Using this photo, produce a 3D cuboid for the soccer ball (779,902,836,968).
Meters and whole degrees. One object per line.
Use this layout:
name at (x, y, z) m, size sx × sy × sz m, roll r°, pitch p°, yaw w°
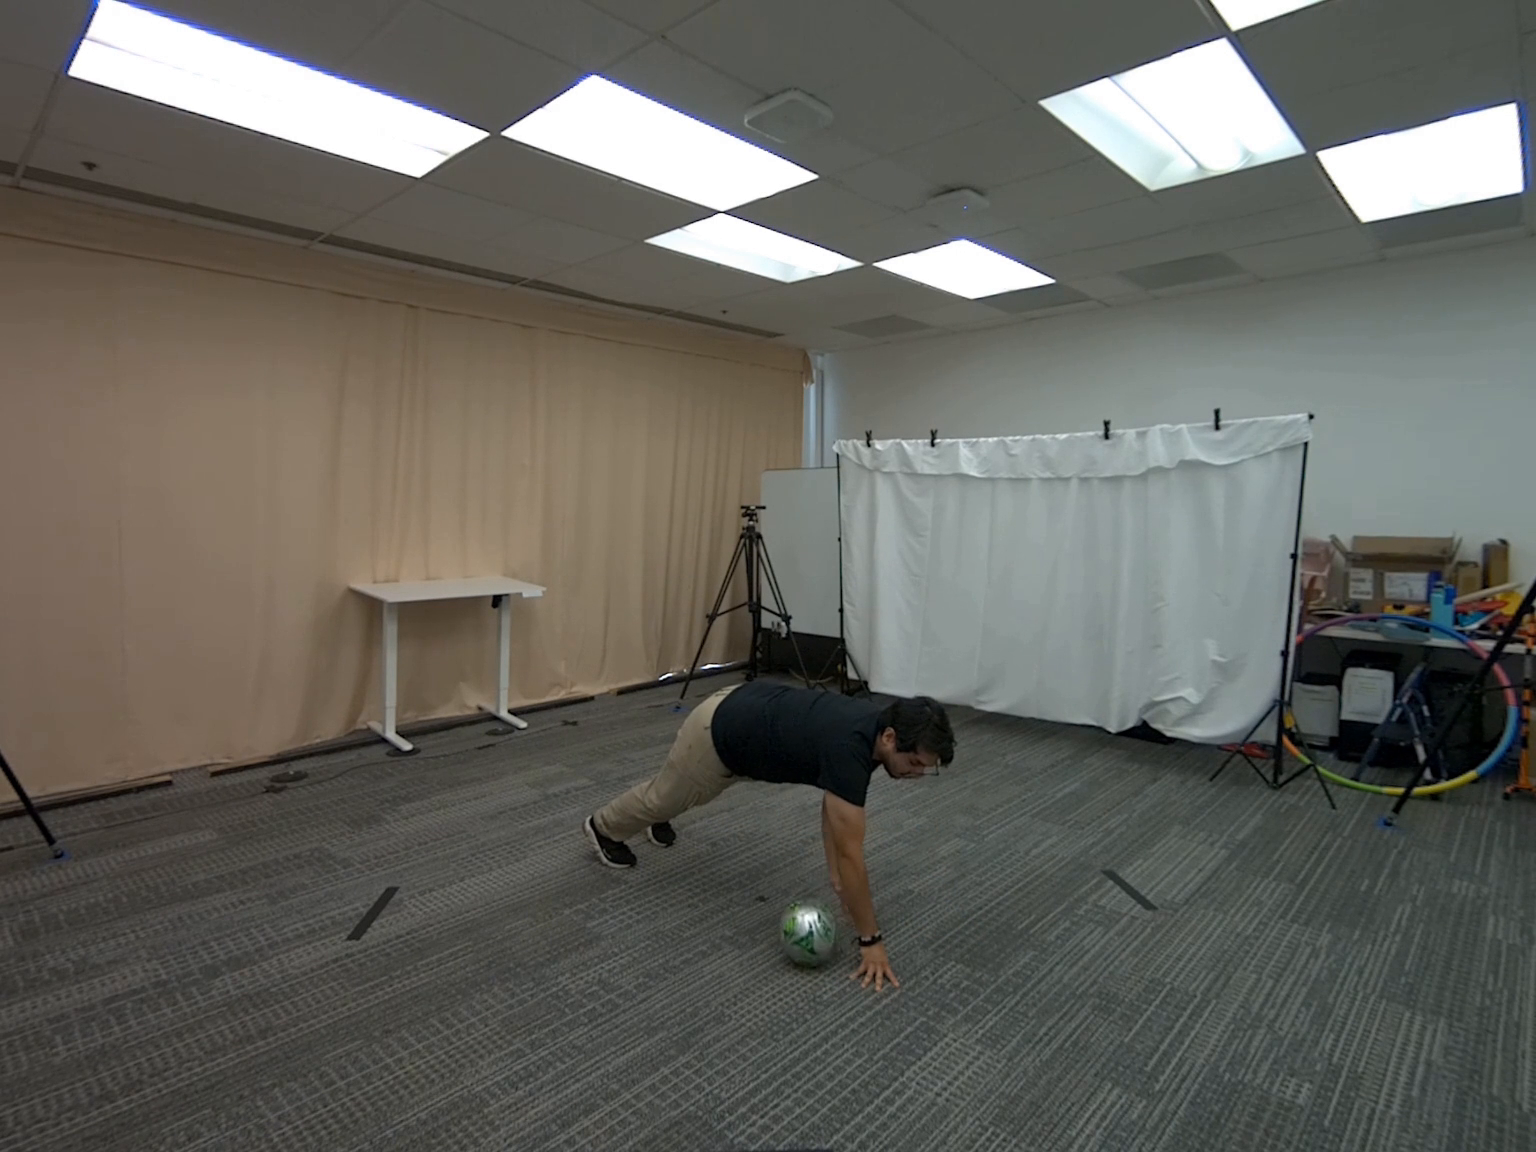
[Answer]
soccer ball at (0.128, 1.089, 2.568) m, size 0.187 × 0.187 × 0.188 m, roll 0°, pitch 4°, yaw -2°
